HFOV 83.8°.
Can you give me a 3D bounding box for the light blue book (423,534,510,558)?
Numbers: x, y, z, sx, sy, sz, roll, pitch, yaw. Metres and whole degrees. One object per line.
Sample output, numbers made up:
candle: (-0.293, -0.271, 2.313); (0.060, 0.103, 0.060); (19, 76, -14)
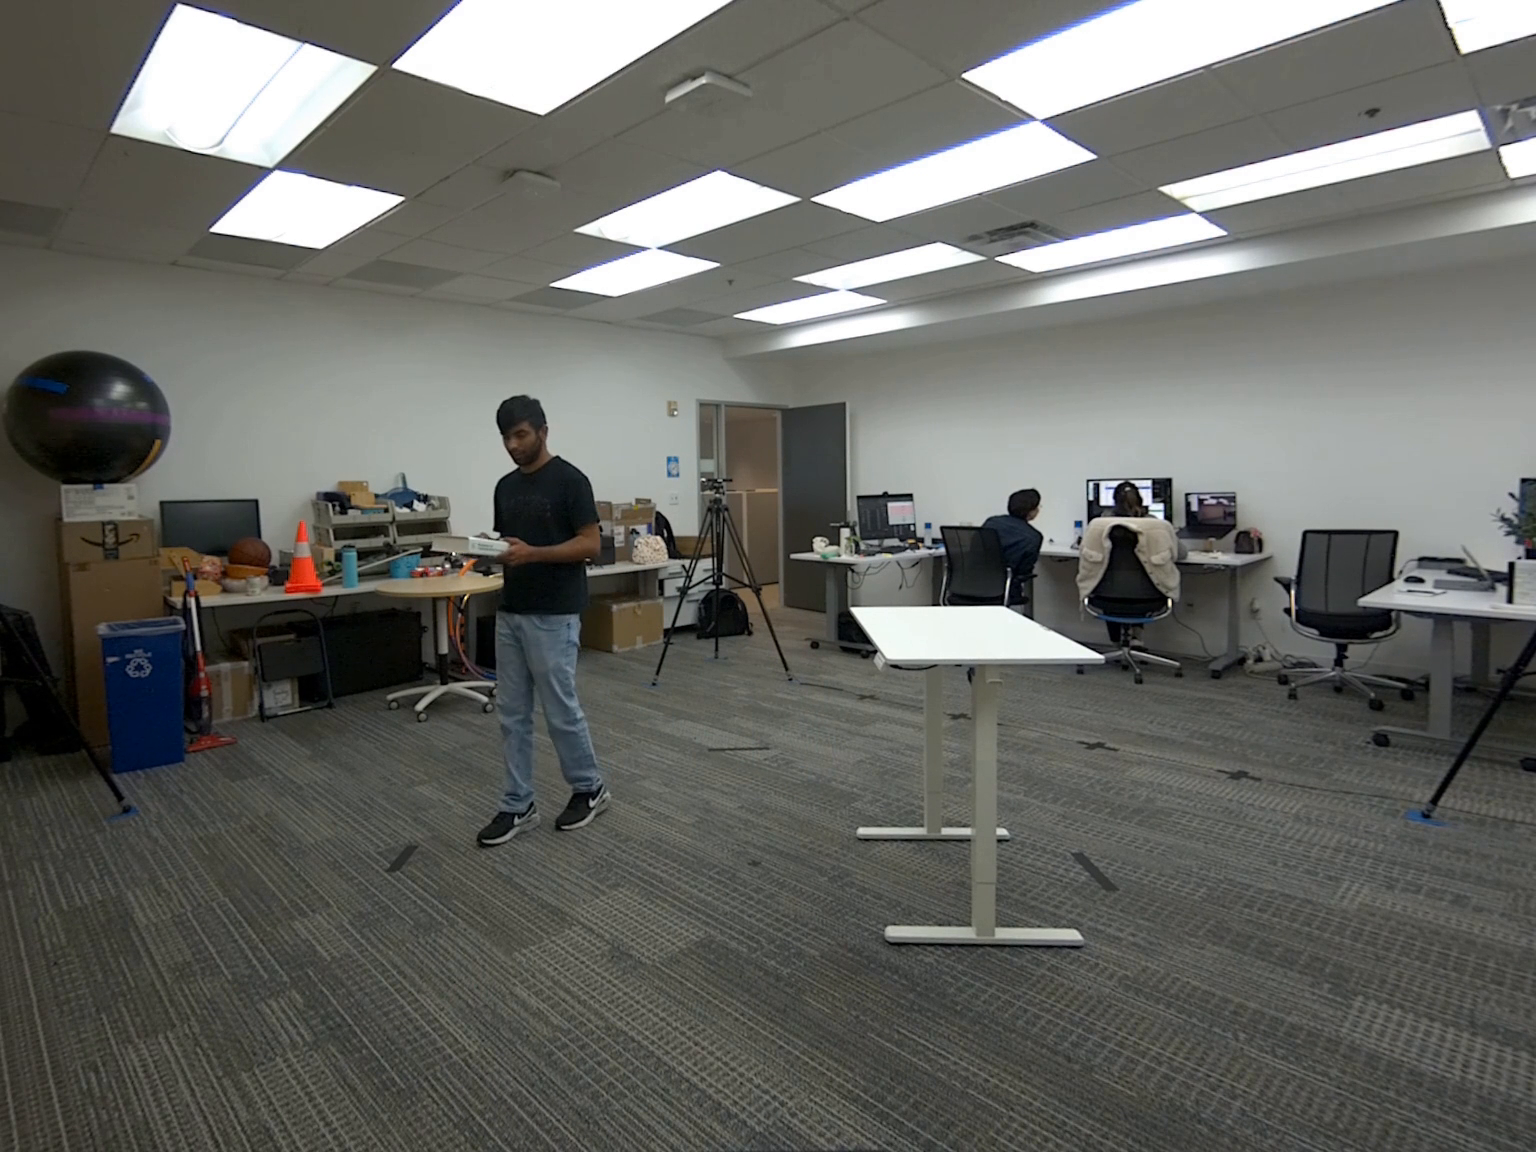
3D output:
light blue book: (-1.062, -0.107, 3.141); (0.196, 0.059, 0.254); (4, 0, 26)
